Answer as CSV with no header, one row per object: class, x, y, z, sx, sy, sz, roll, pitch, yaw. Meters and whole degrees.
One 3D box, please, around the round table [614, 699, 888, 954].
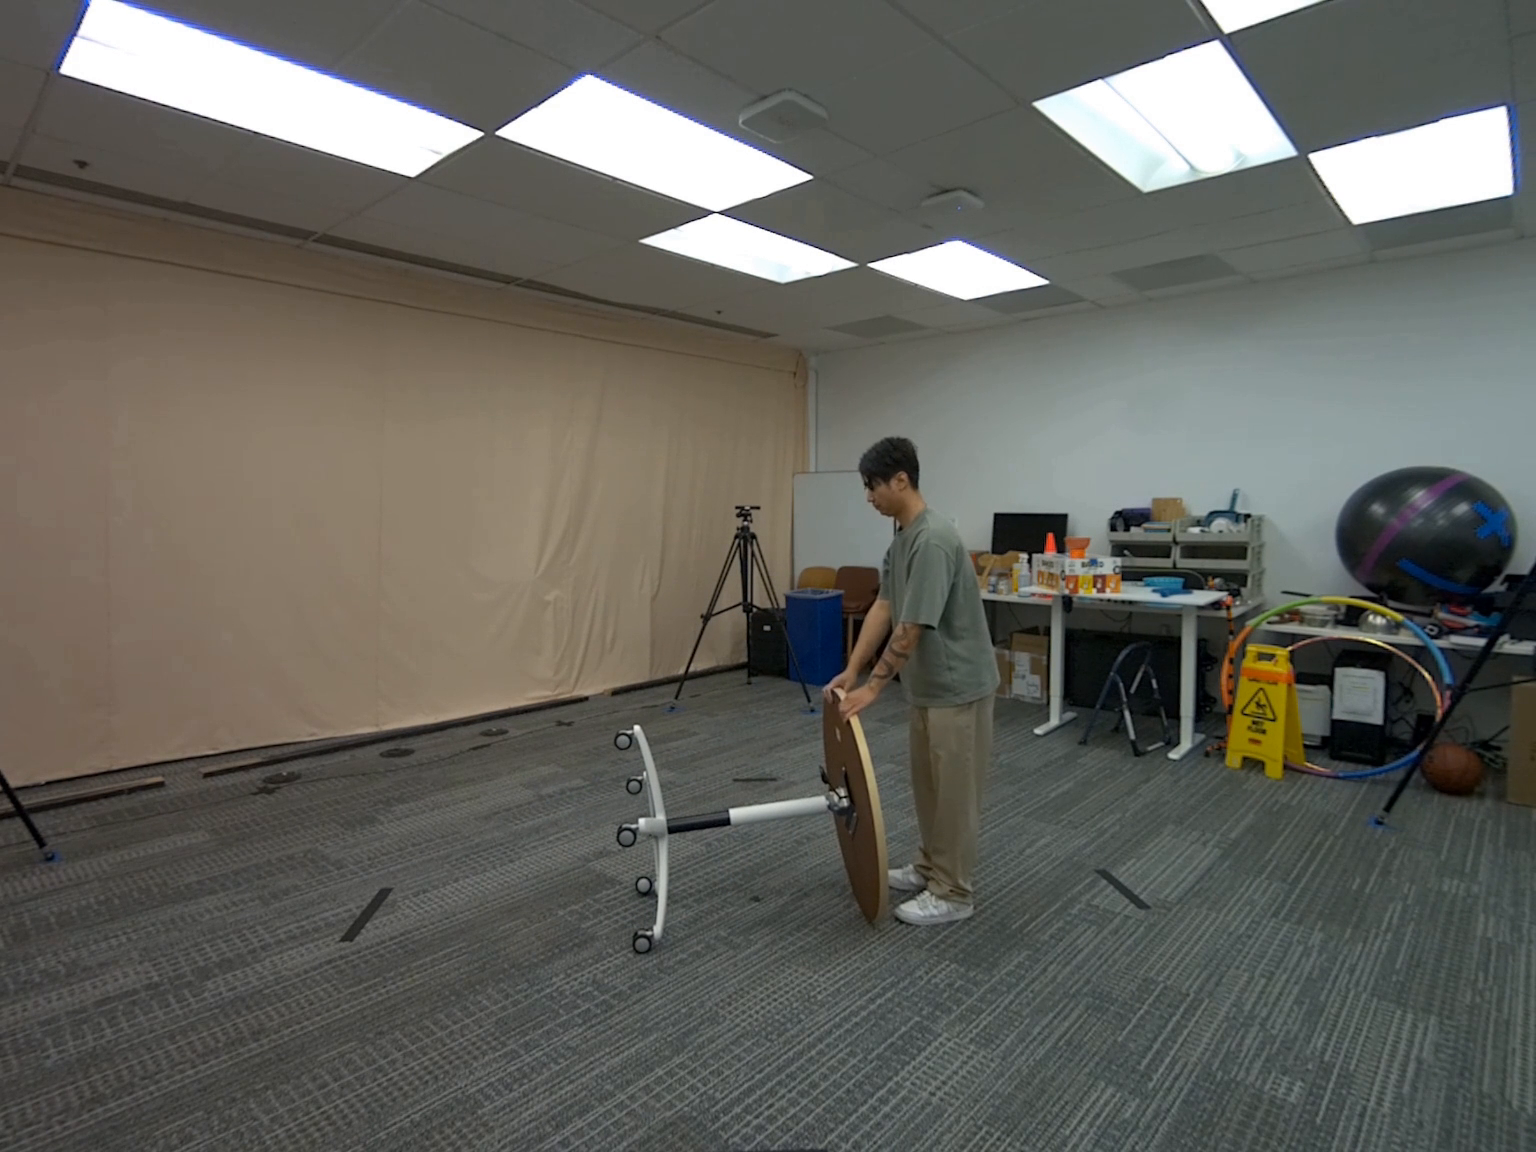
round table,-0.088,0.814,2.854,0.781,0.783,0.793,-6,5,-7
